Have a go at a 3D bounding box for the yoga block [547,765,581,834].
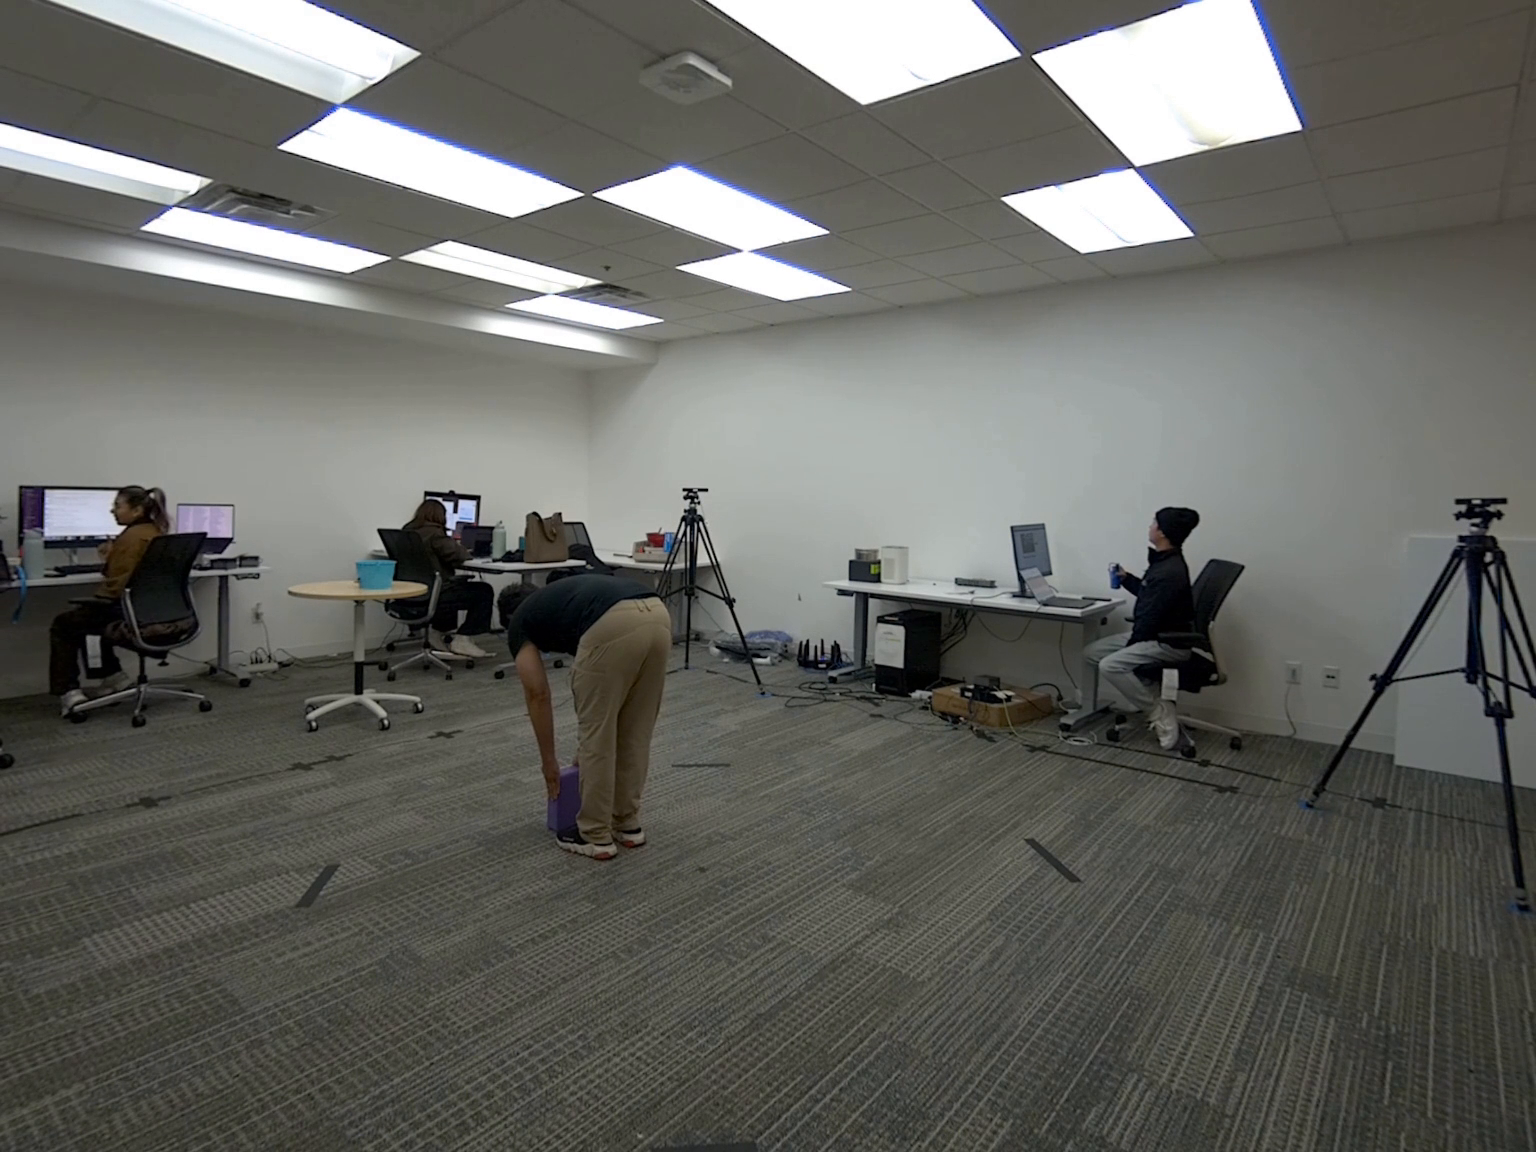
[{"bbox_3d":[-0.843,0.912,3.488,0.079,0.228,0.144,3,5,39],"label":"yoga block"}]
